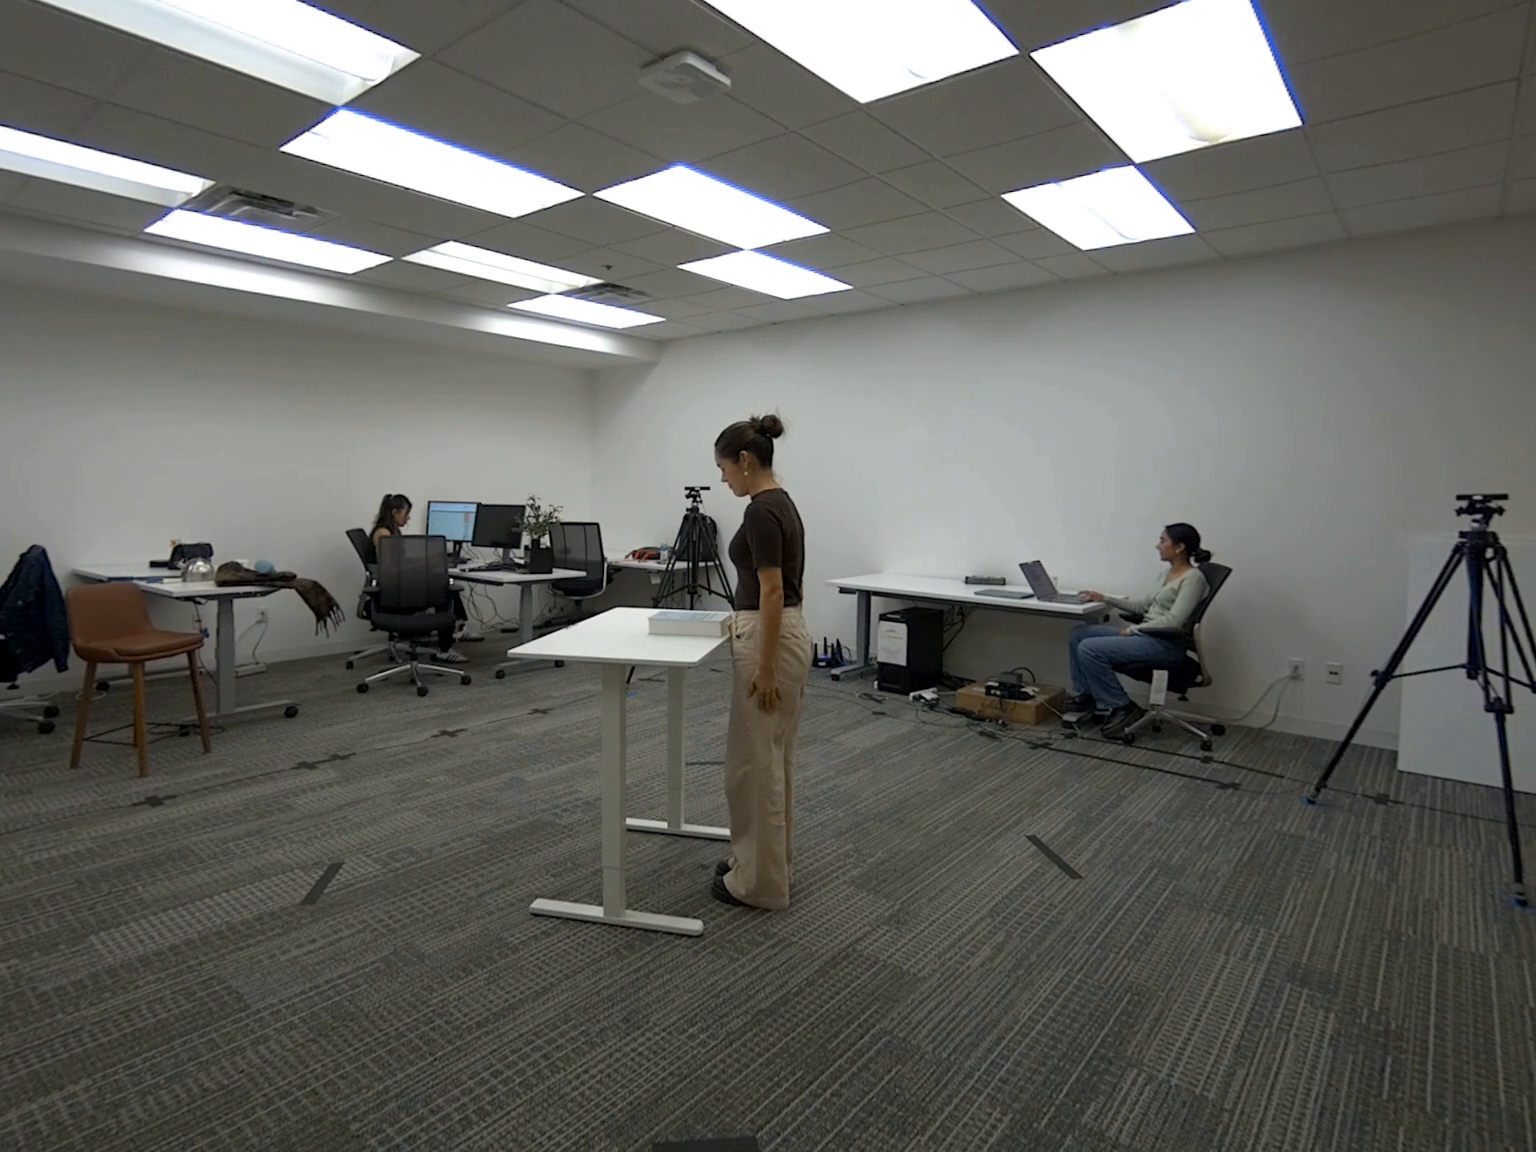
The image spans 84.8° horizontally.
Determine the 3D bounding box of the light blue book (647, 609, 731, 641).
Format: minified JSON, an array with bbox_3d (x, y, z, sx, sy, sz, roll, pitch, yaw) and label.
[{"bbox_3d":[-0.280,0.166,2.995,0.264,0.059,0.190,2,6,8],"label":"light blue book"}]
